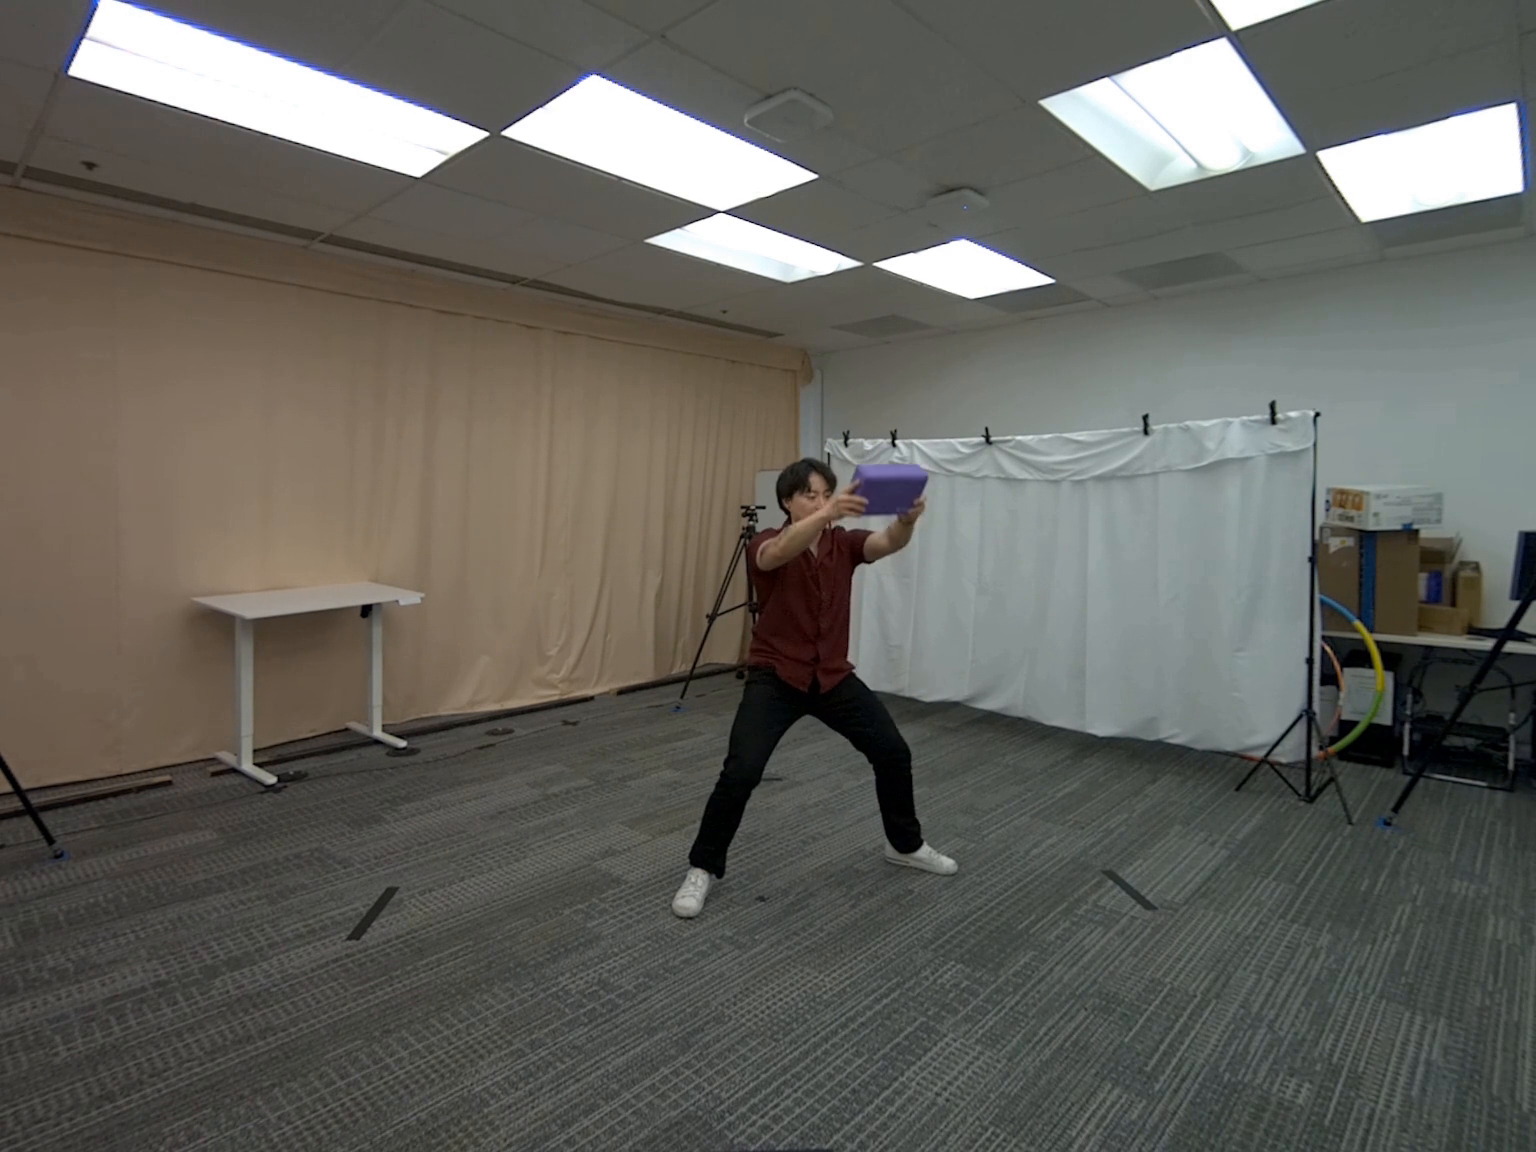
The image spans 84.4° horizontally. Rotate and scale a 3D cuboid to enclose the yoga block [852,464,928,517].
[{"bbox_3d":[0.360,-0.270,2.581,0.226,0.147,0.078,-1,36,-13],"label":"yoga block"}]
